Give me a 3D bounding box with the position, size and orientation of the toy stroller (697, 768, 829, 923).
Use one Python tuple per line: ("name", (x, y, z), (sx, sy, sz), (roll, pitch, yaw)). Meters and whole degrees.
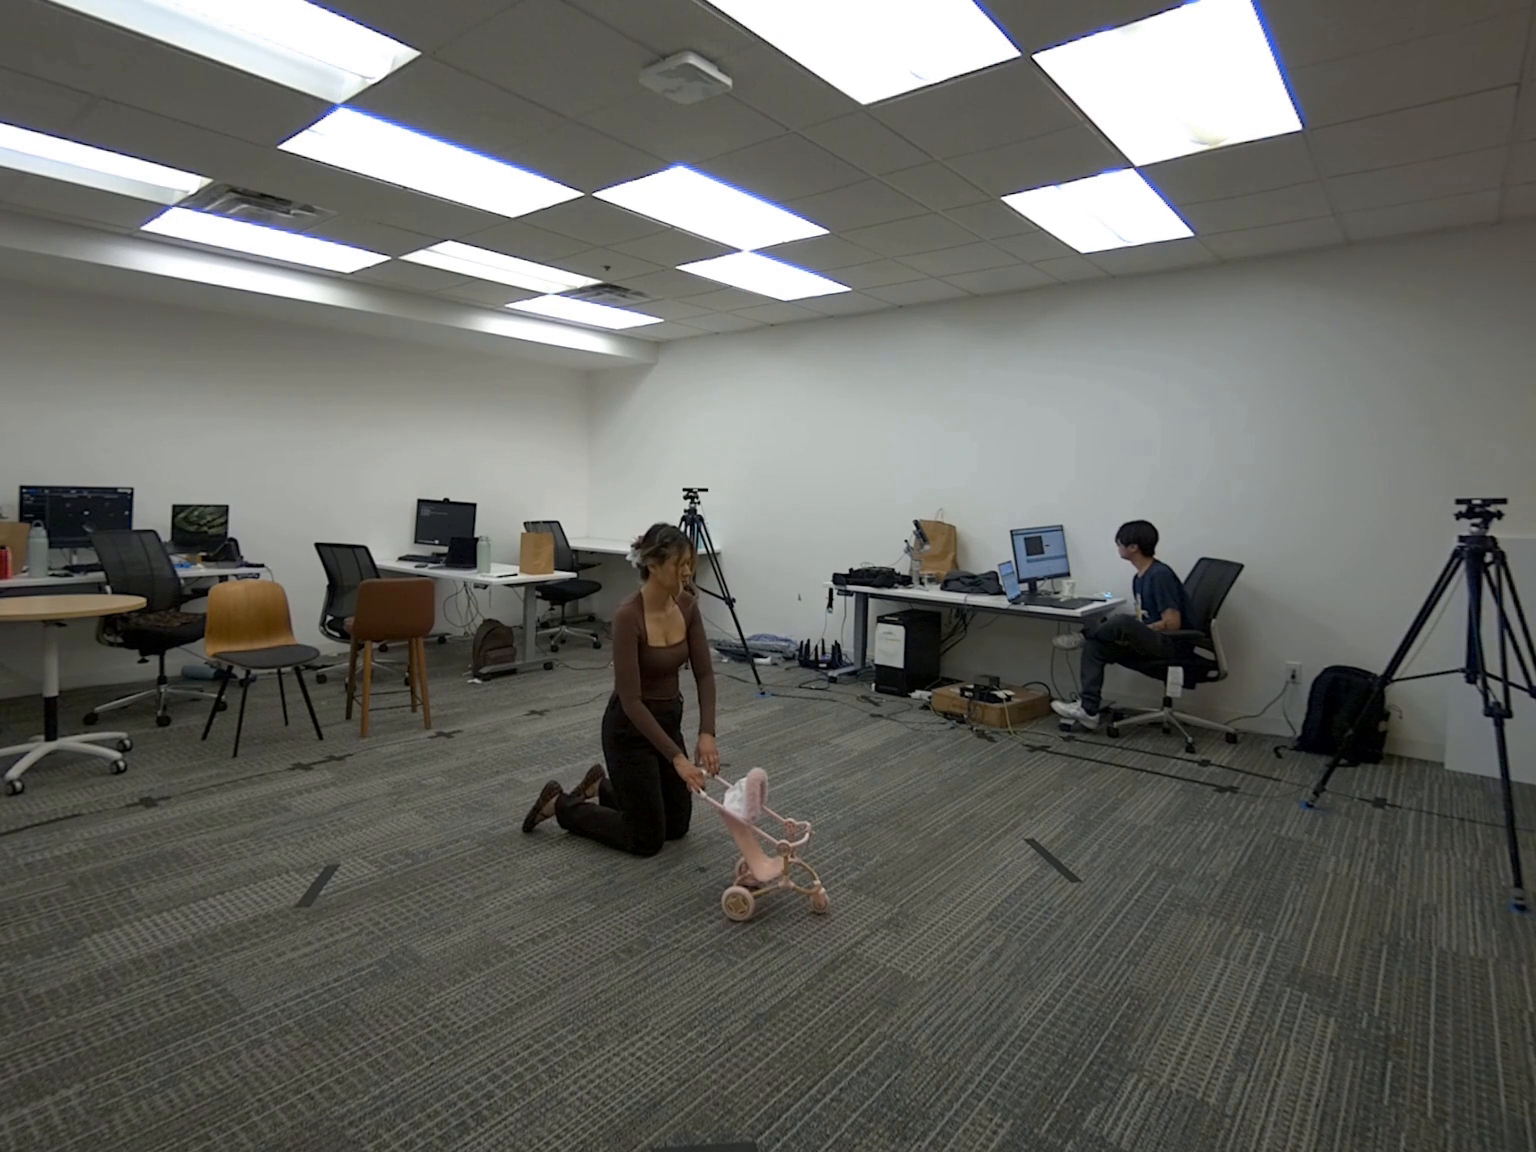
("toy stroller", (-0.026, 0.878, 2.835), (0.345, 0.536, 0.278), (-16, -1, 15))
